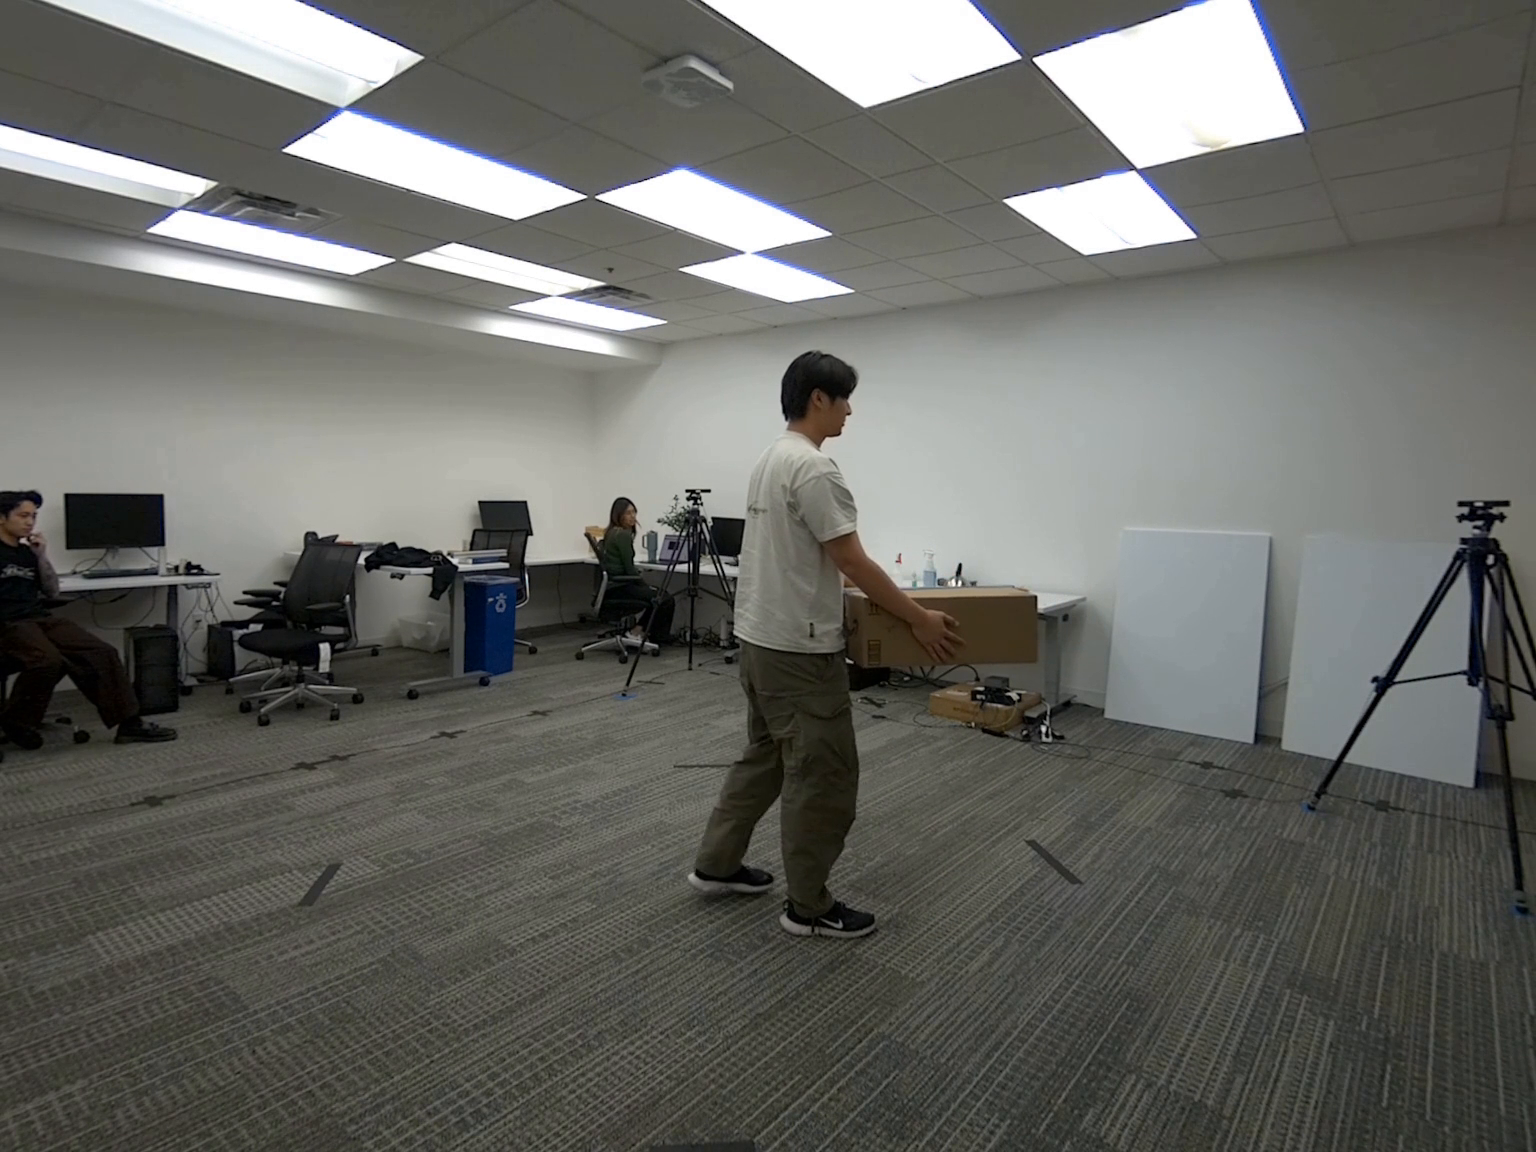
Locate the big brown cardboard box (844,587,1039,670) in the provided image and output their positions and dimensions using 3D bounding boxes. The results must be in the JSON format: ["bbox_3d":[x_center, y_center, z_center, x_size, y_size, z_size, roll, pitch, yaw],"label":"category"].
[{"bbox_3d":[0.533,0.159,2.820,0.583,0.233,0.423,-2,3,-11],"label":"big brown cardboard box"}]
